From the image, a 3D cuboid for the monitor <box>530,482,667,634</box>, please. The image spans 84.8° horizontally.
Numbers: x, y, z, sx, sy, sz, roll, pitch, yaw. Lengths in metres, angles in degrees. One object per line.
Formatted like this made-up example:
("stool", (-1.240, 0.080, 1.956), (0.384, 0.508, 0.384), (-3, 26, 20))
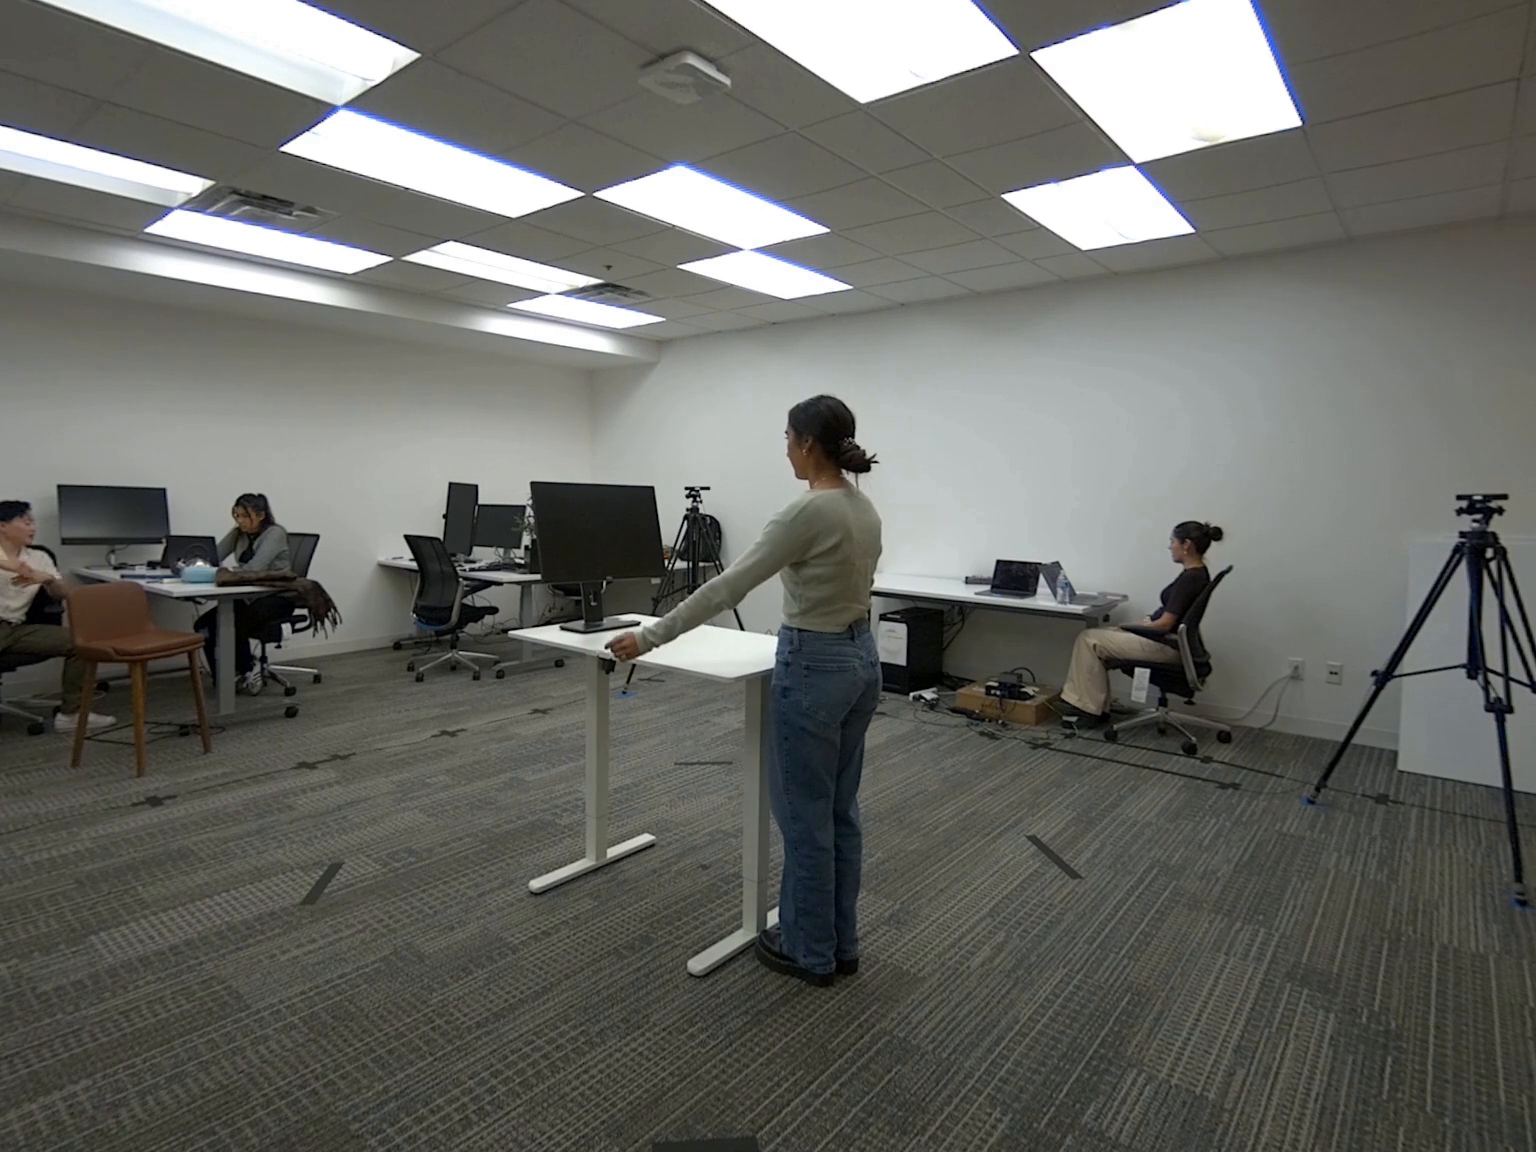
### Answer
("monitor", (-0.638, -0.069, 3.045), (0.193, 0.522, 0.523), (1, 3, 42))
